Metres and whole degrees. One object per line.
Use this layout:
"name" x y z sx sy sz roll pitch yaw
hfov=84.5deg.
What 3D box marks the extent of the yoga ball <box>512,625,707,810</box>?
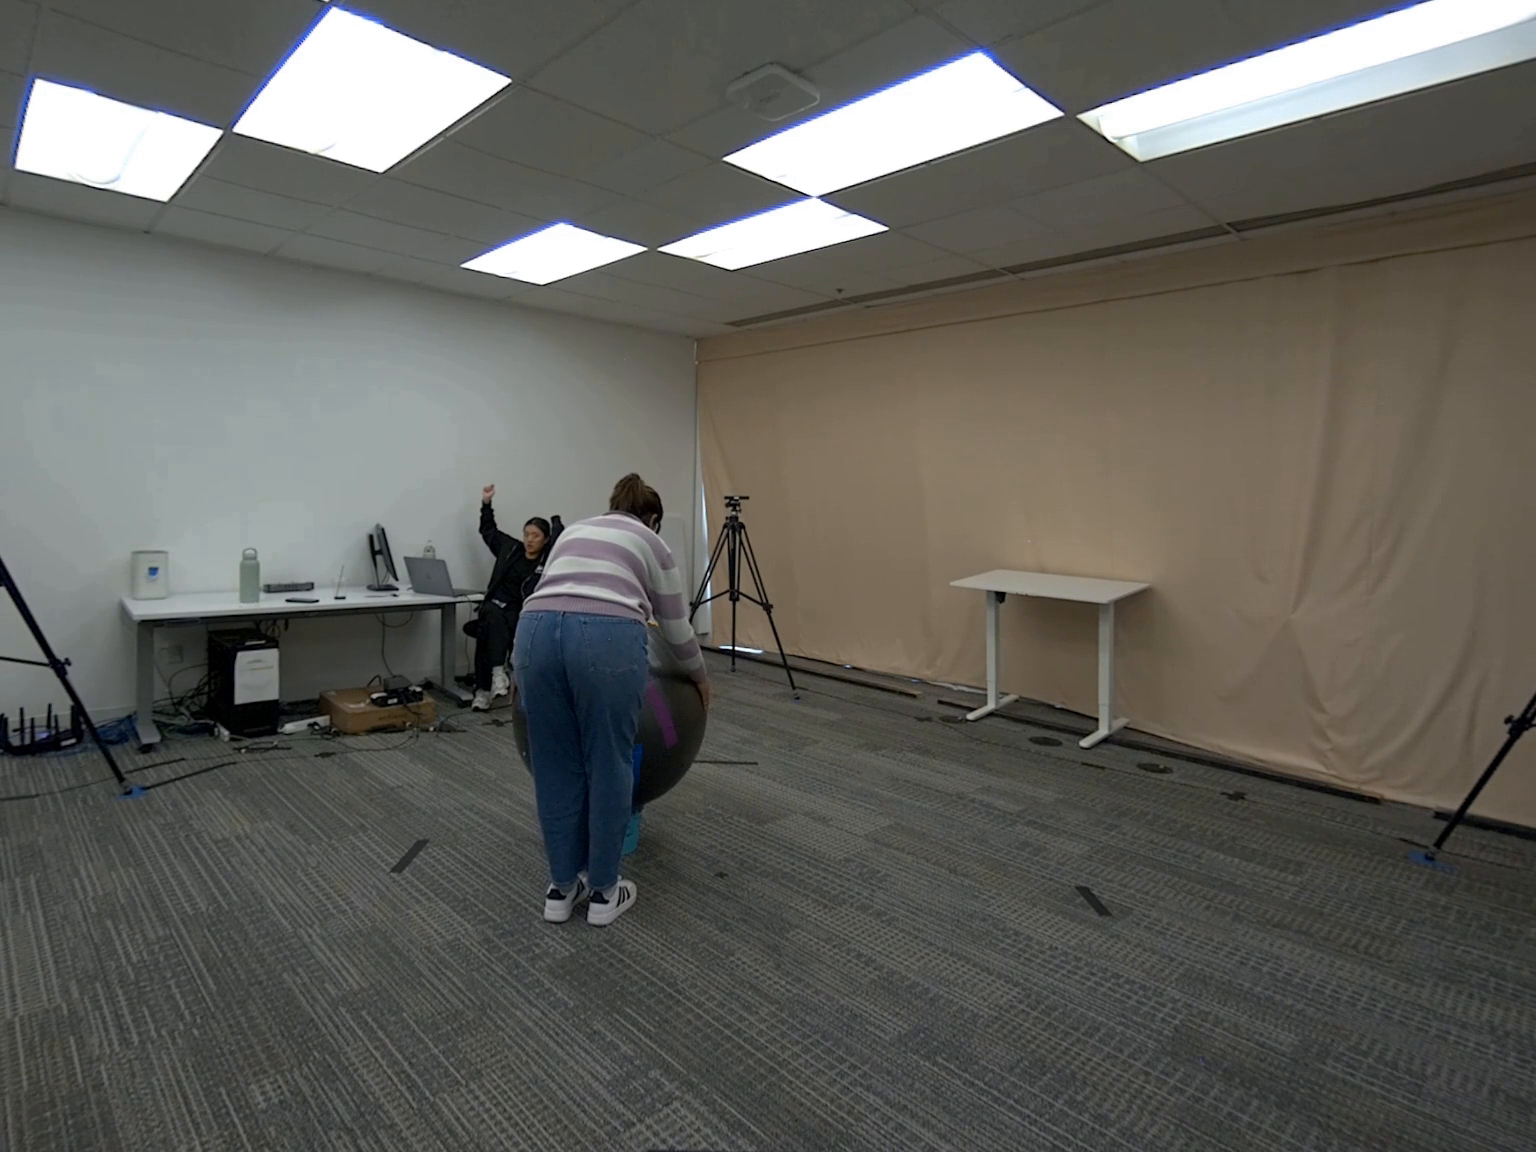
"yoga ball" -0.620 0.527 3.298 0.757 0.756 0.761 1 4 -1
